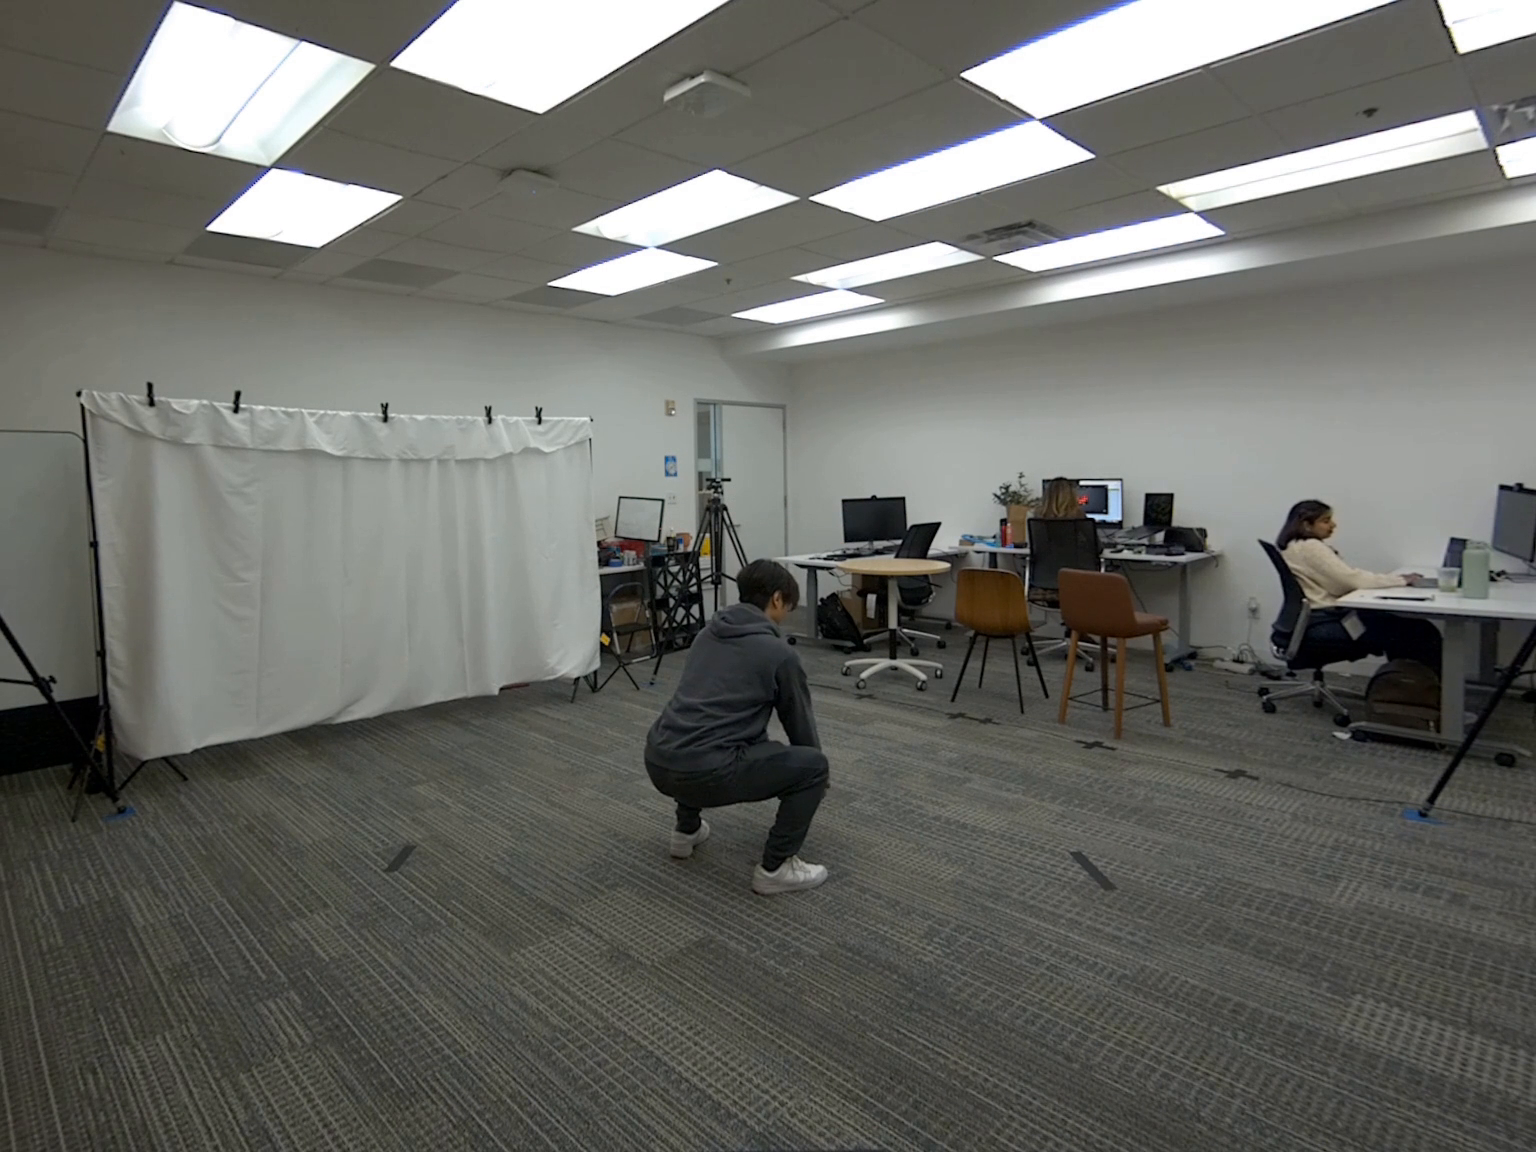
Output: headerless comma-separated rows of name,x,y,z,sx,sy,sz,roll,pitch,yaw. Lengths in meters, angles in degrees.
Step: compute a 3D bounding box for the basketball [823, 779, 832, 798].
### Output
basketball,0.130,0.771,3.317,0.236,0.235,0.237,-1,5,-2
